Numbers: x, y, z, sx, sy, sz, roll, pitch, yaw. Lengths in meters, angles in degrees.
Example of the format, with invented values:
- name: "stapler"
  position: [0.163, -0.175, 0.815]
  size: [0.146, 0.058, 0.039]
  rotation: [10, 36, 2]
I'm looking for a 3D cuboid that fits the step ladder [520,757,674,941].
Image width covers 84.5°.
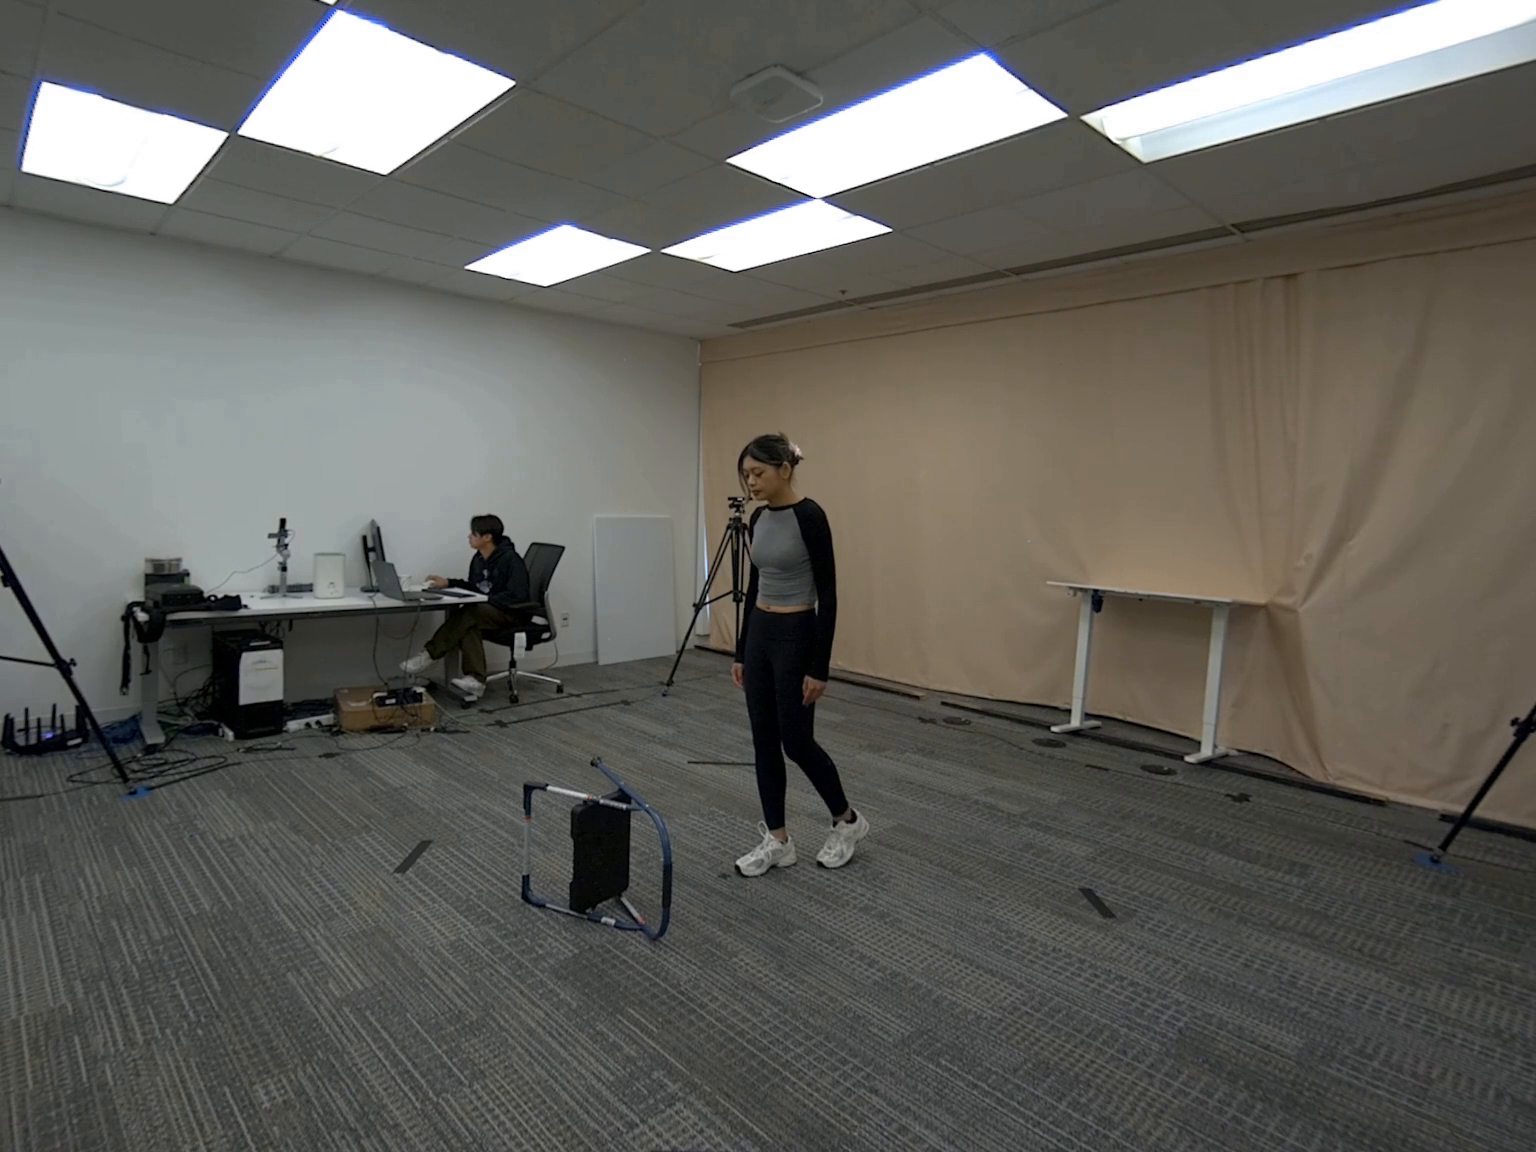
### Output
- name: "step ladder"
  position: [-0.506, 0.921, 2.797]
  size: [0.621, 0.429, 0.342]
  rotation: [6, 7, 39]
